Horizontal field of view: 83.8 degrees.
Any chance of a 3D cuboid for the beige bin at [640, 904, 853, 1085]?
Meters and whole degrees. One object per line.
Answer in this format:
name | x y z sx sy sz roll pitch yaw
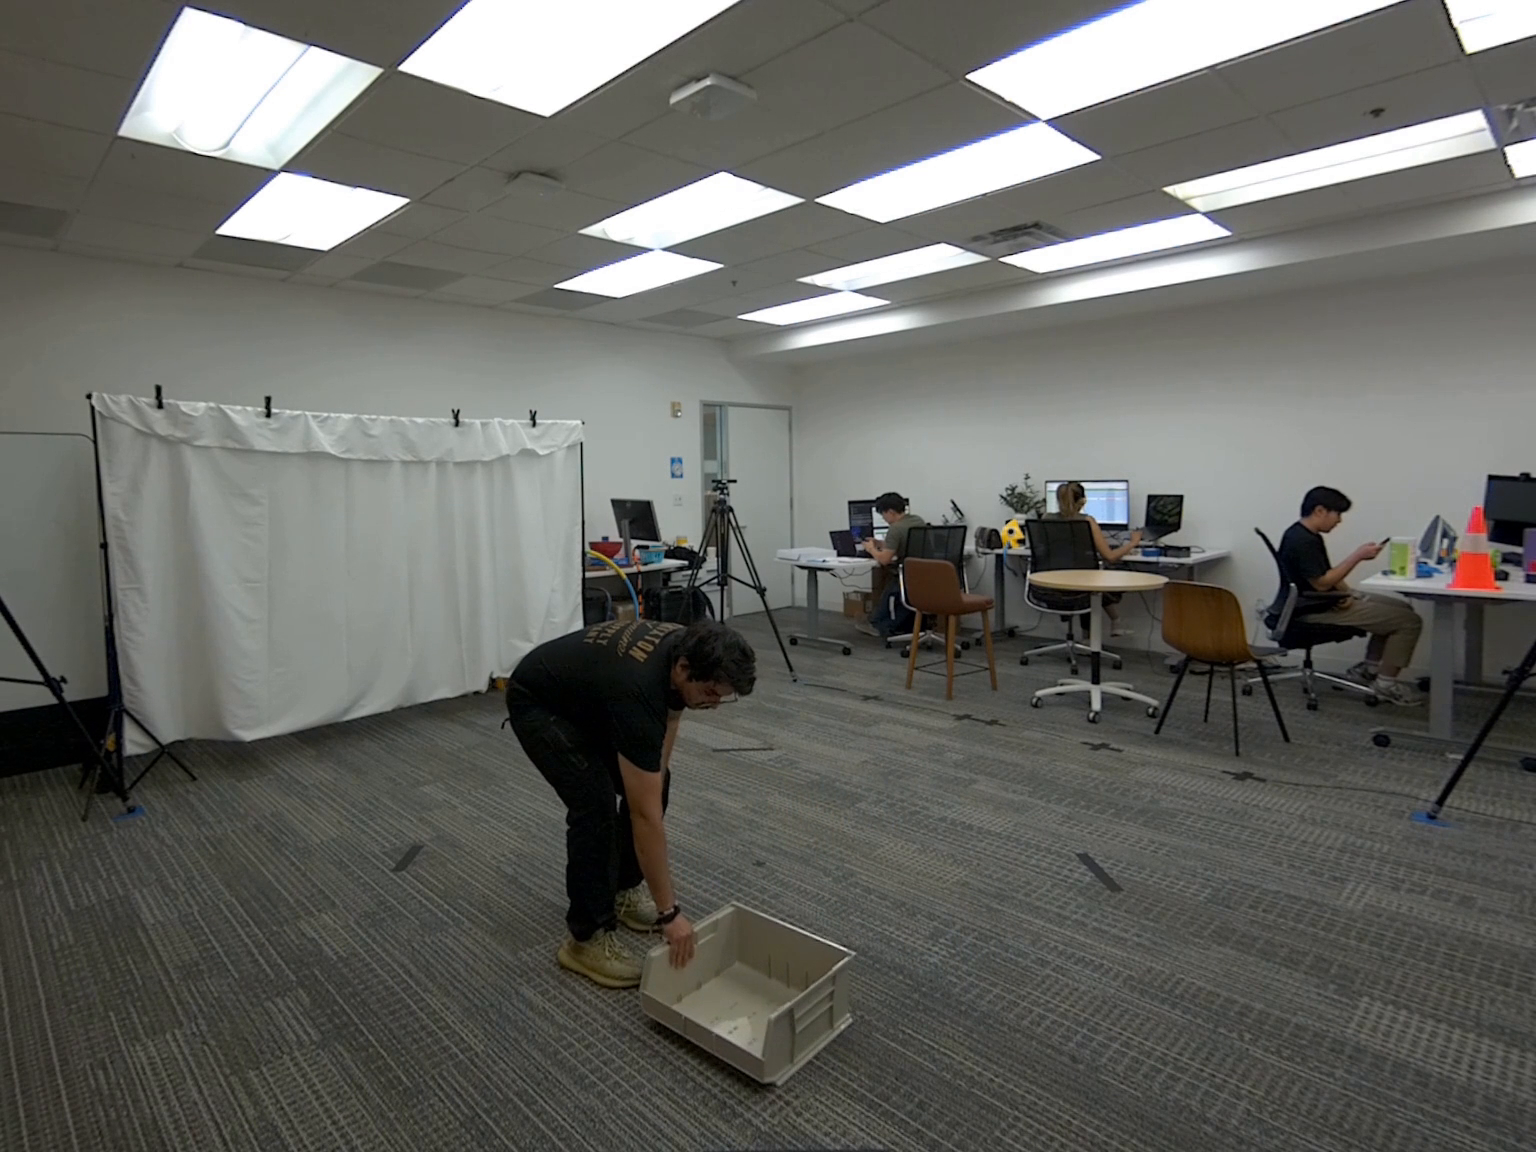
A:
beige bin | -0.050 1.065 2.200 0.435 0.188 0.367 4 7 41
